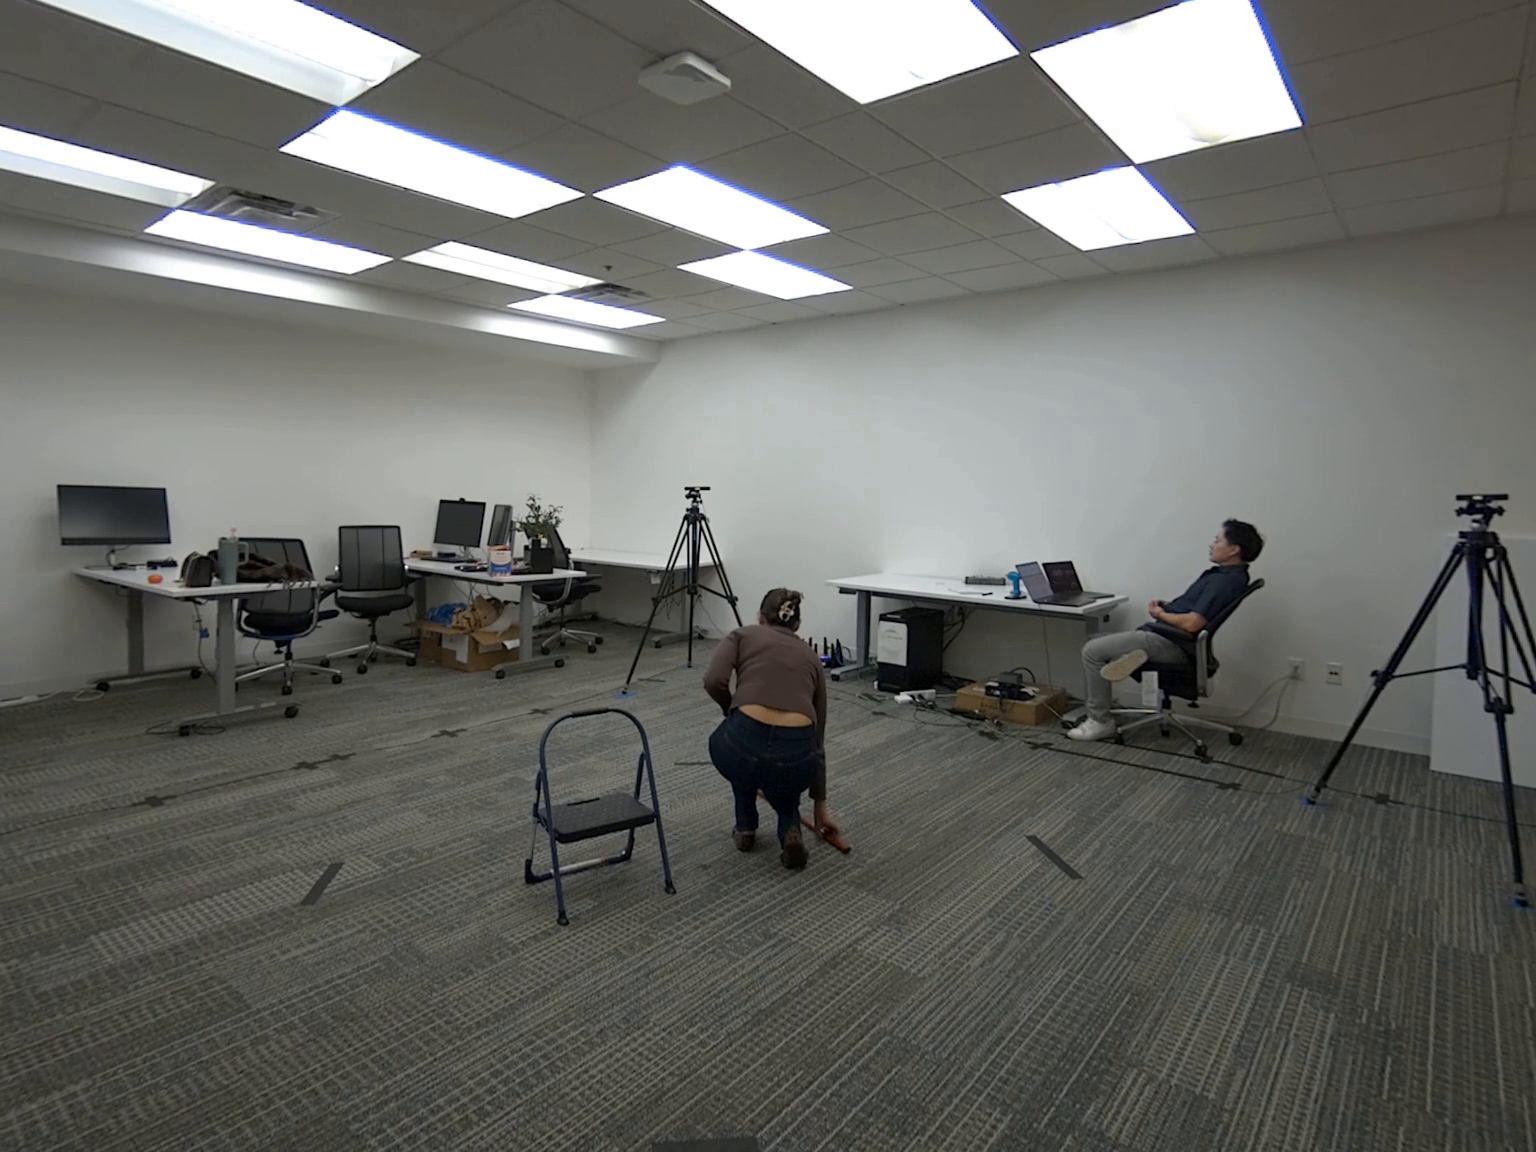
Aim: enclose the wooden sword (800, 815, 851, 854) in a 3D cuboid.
[{"bbox_3d":[0.037,0.980,3.707,0.050,0.024,1.054,0,5,-29],"label":"wooden sword"}]
